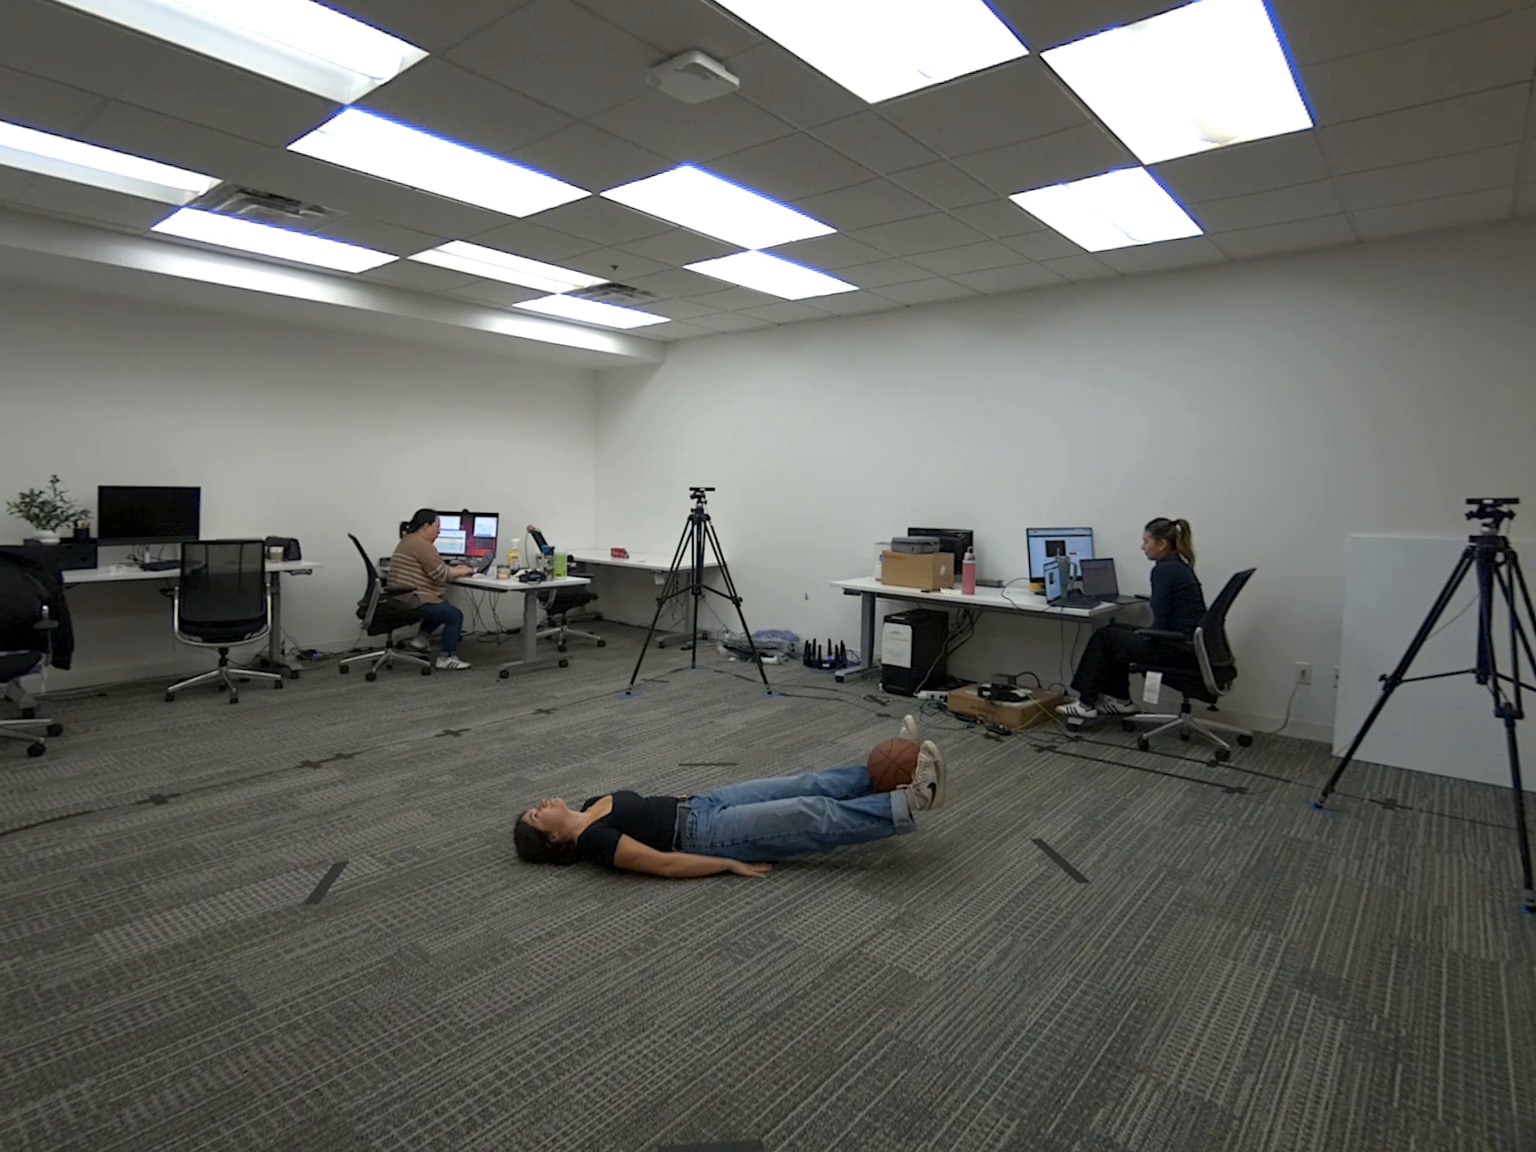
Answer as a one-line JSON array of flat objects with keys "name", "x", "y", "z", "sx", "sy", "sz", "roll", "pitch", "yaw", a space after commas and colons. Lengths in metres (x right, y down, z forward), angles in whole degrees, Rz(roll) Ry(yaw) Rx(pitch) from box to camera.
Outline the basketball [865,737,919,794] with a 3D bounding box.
[{"name": "basketball", "x": 0.495, "y": 0.741, "z": 3.296, "sx": 0.235, "sy": 0.235, "sz": 0.237, "roll": 1, "pitch": 4, "yaw": -2}]
